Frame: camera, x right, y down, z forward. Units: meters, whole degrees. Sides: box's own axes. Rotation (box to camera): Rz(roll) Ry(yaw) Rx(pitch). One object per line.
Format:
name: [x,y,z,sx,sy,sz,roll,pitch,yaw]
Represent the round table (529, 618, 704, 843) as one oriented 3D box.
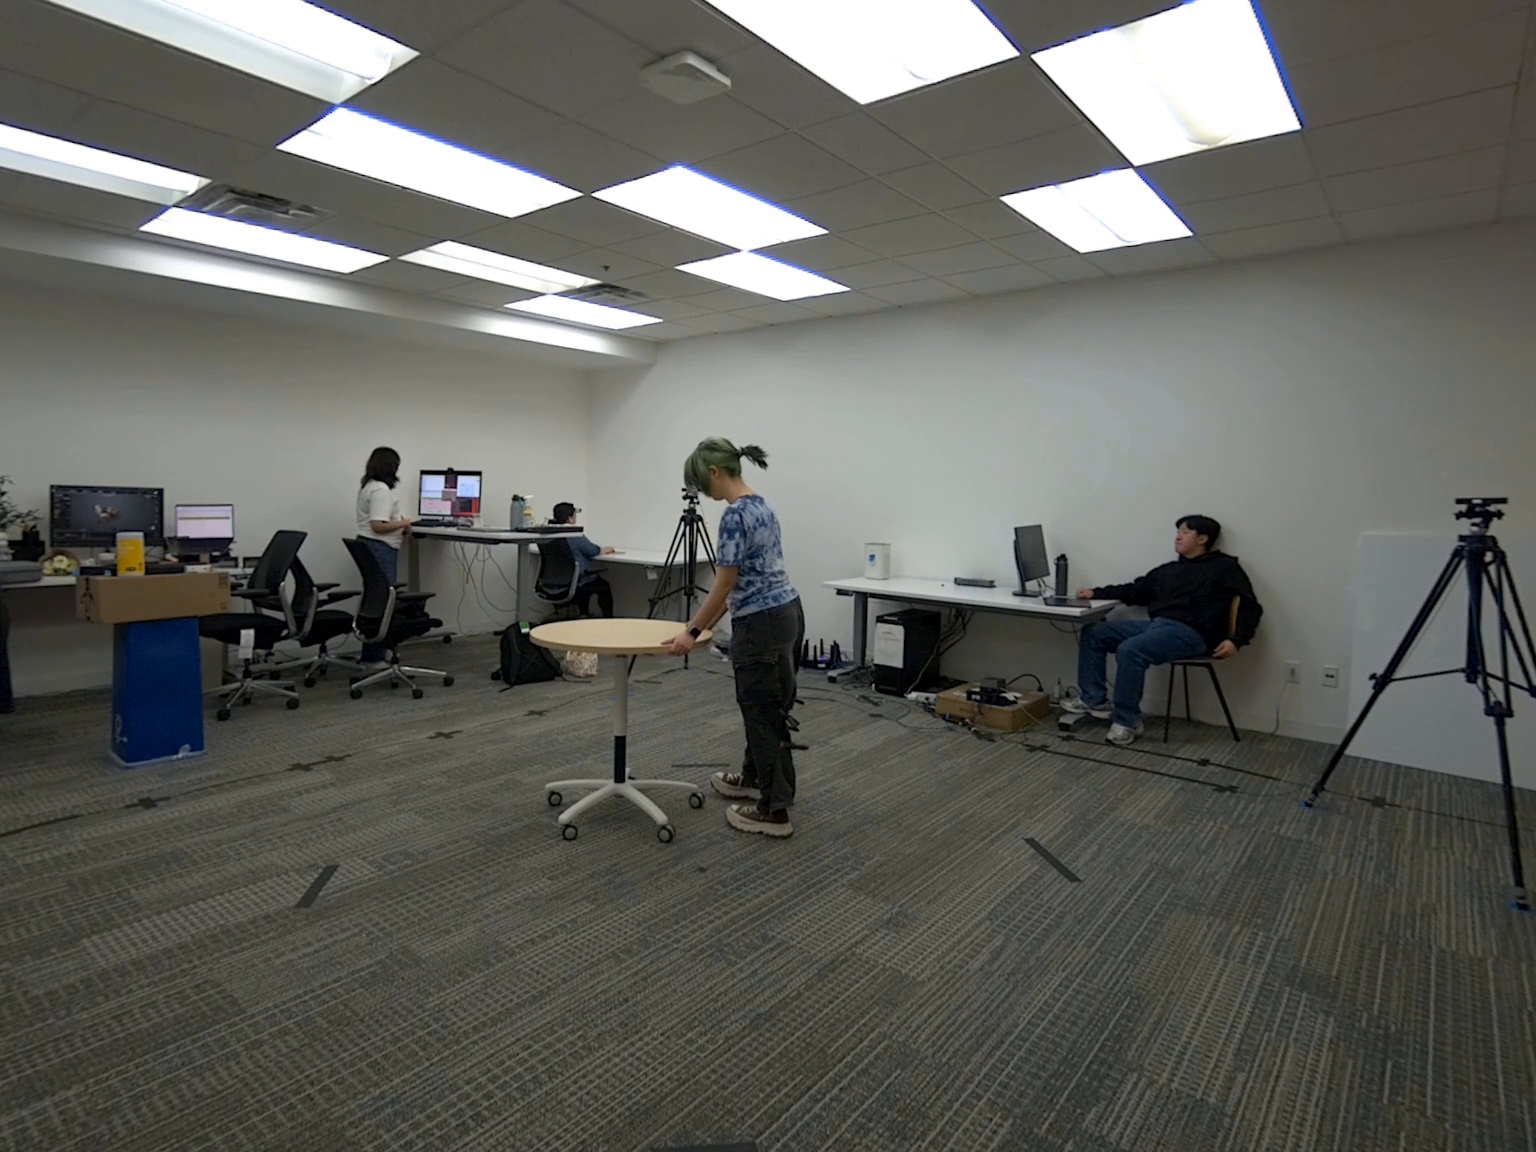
round table: [-0.638,0.627,3.615,0.763,0.792,0.767,1,4,-2]
